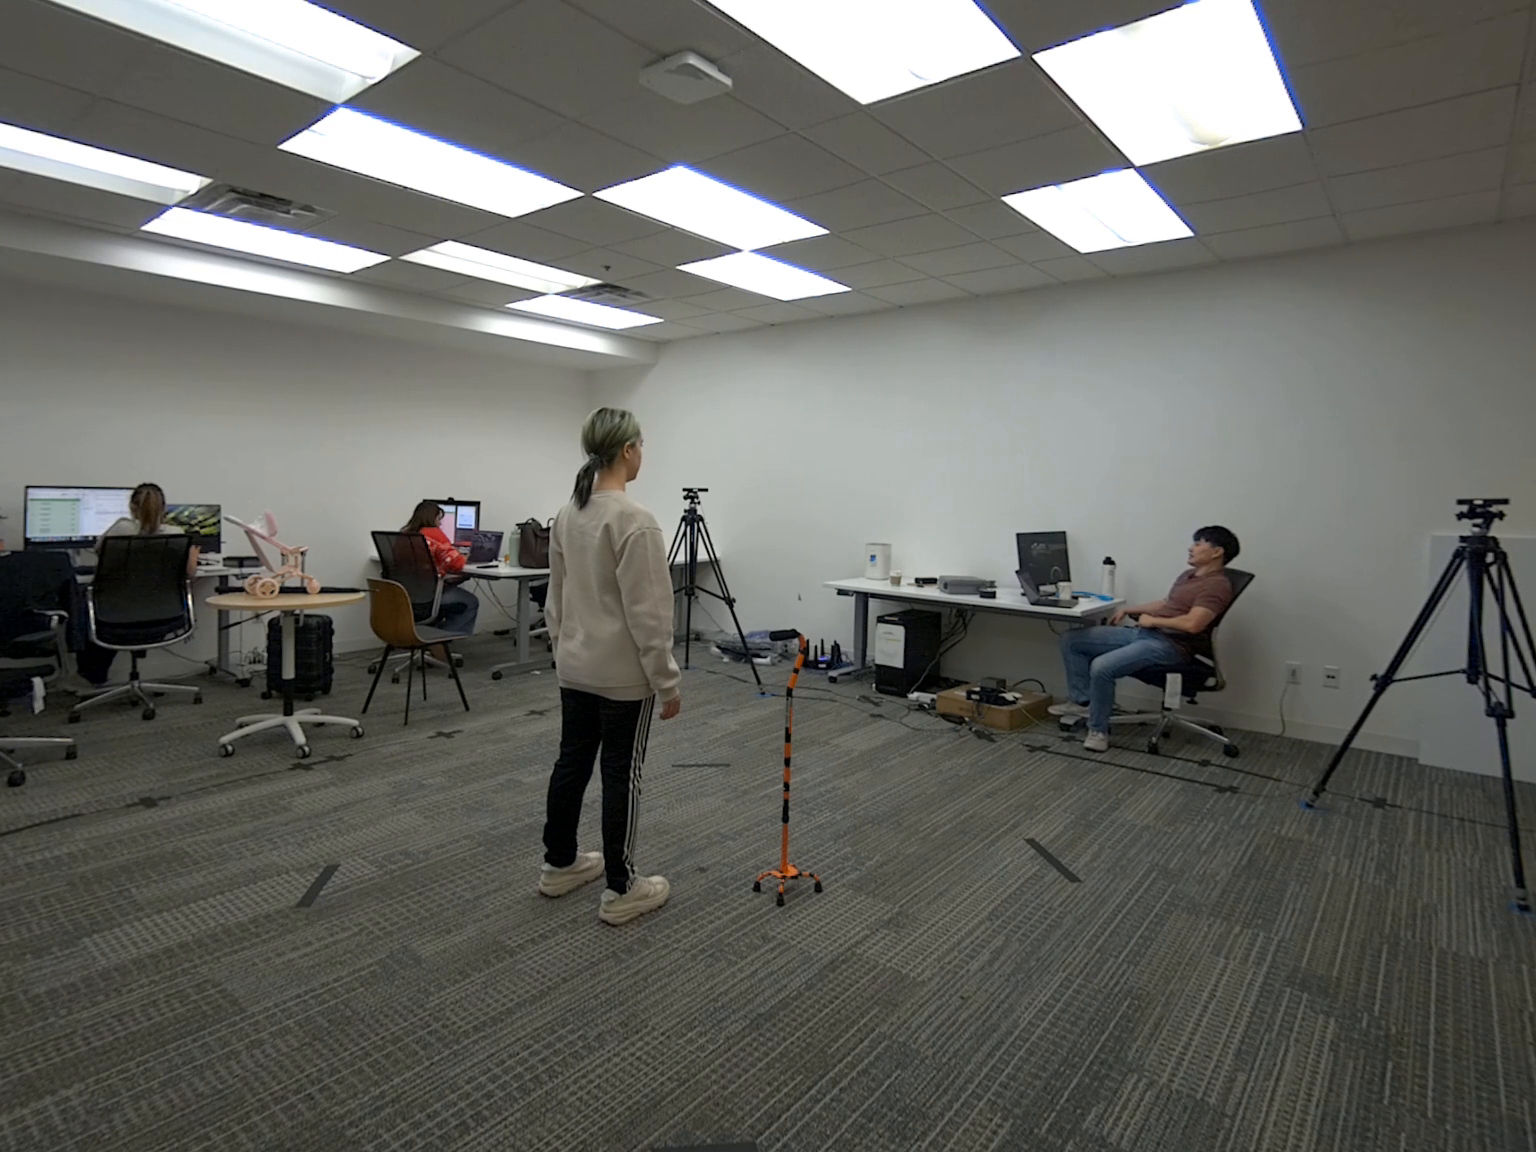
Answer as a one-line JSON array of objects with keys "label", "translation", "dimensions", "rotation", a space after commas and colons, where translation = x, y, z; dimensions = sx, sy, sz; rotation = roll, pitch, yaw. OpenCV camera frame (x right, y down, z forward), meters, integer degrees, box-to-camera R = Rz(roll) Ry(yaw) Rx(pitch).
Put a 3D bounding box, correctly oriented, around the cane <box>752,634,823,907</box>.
[{"label": "cane", "translation": [0.071, 0.639, 2.933], "dimensions": [0.200, 0.905, 0.157], "rotation": [-1, 4, -40]}]
